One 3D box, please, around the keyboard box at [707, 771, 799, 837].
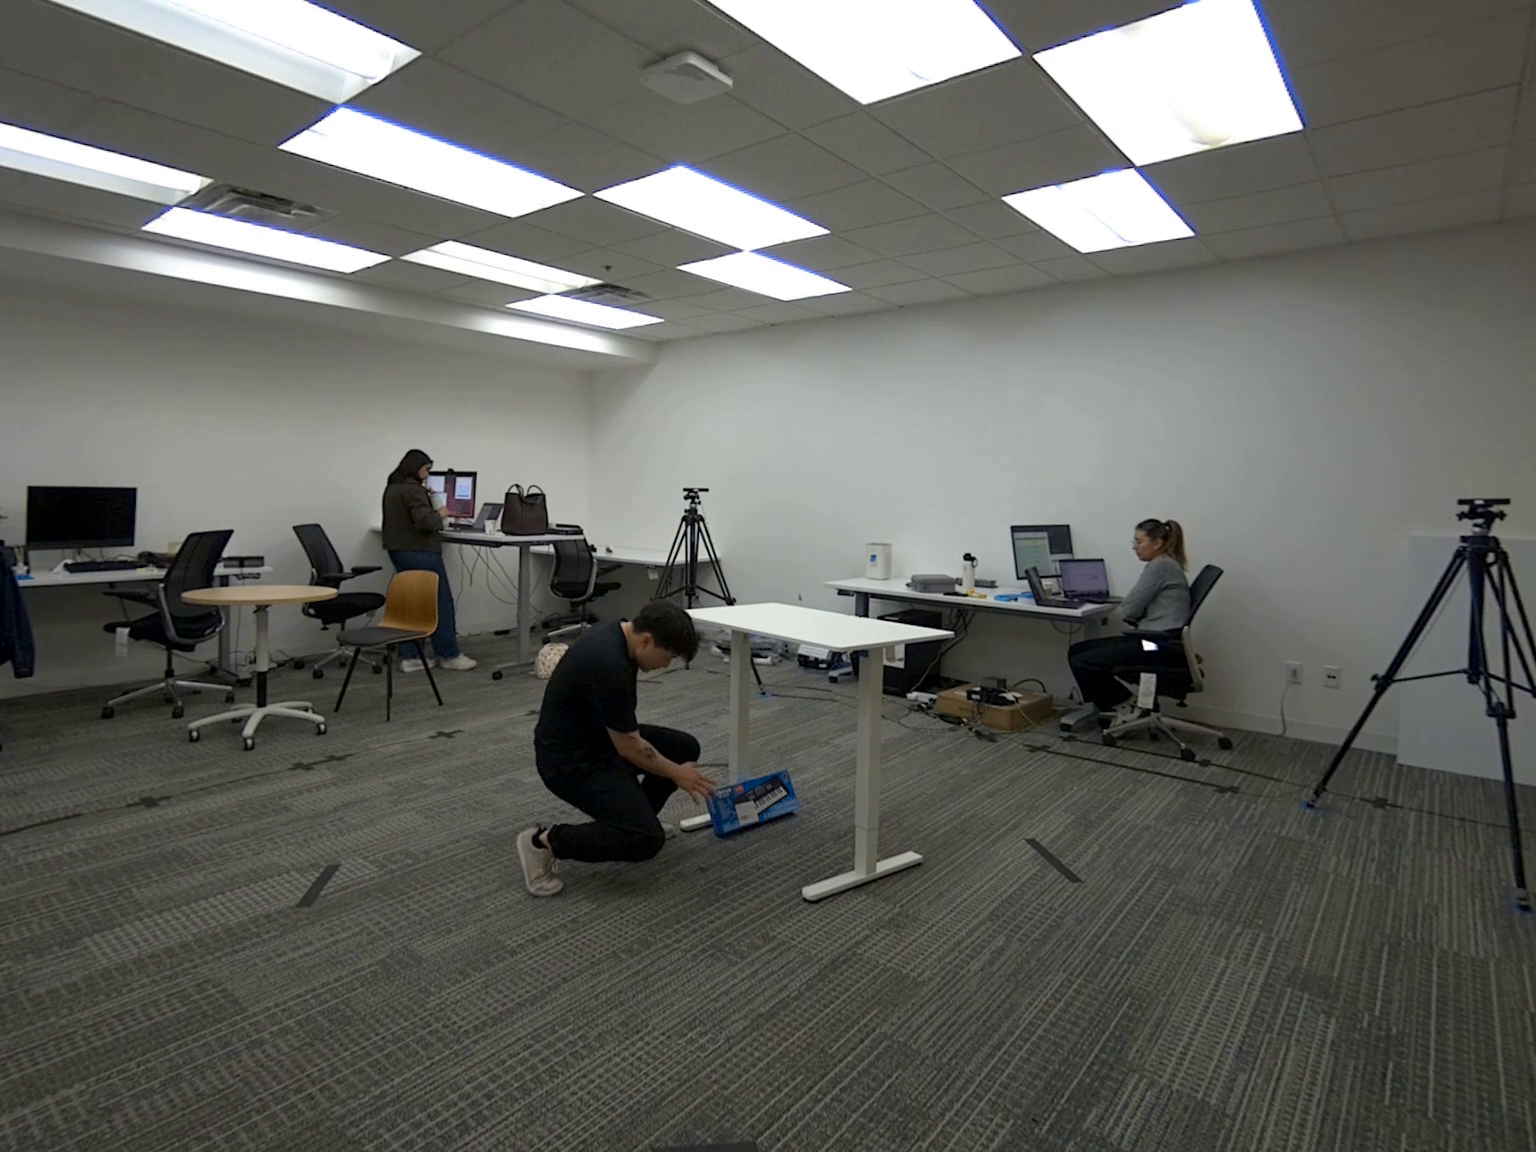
[{"bbox_3d":[-0.072,0.949,3.558,0.424,0.179,0.060,-4,-22,-42],"label":"keyboard box"}]
